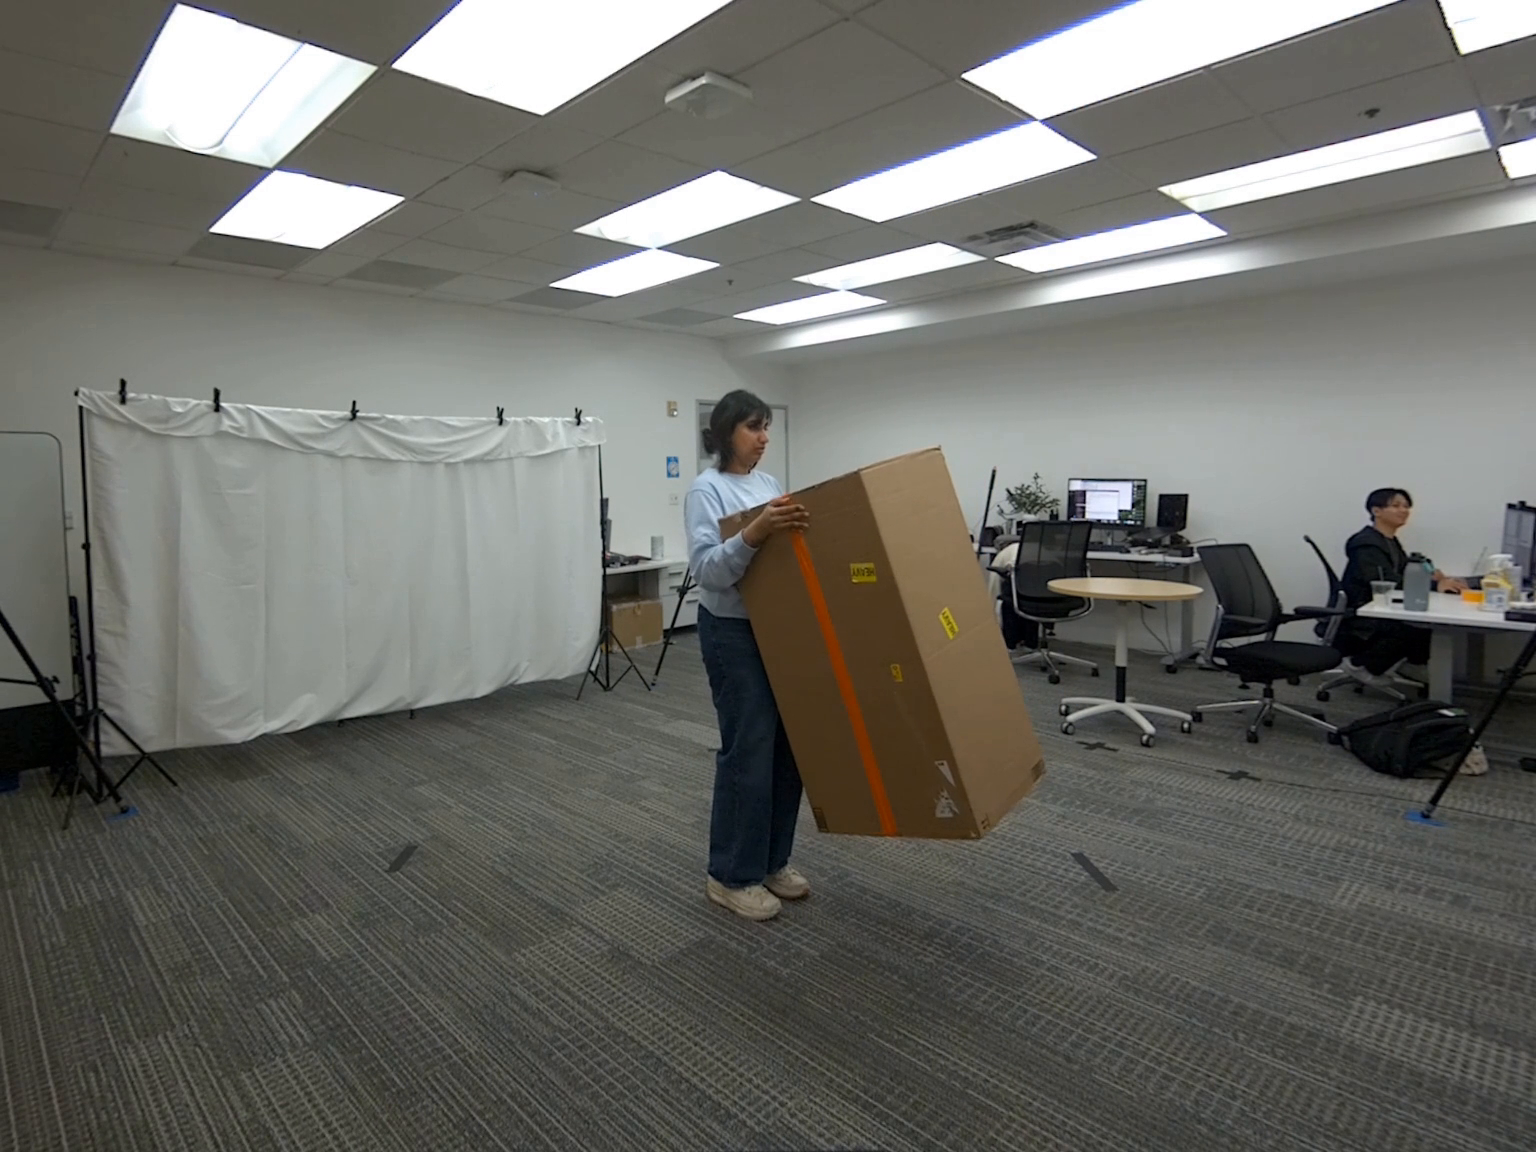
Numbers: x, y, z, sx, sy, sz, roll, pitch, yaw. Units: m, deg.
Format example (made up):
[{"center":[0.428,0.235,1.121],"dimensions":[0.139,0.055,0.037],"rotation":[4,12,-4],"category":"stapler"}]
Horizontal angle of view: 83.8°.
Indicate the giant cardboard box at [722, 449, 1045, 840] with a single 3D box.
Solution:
[{"center":[0.337,0.207,2.570],"dimensions":[0.438,1.027,0.595],"rotation":[-19,1,-43],"category":"giant cardboard box"}]
